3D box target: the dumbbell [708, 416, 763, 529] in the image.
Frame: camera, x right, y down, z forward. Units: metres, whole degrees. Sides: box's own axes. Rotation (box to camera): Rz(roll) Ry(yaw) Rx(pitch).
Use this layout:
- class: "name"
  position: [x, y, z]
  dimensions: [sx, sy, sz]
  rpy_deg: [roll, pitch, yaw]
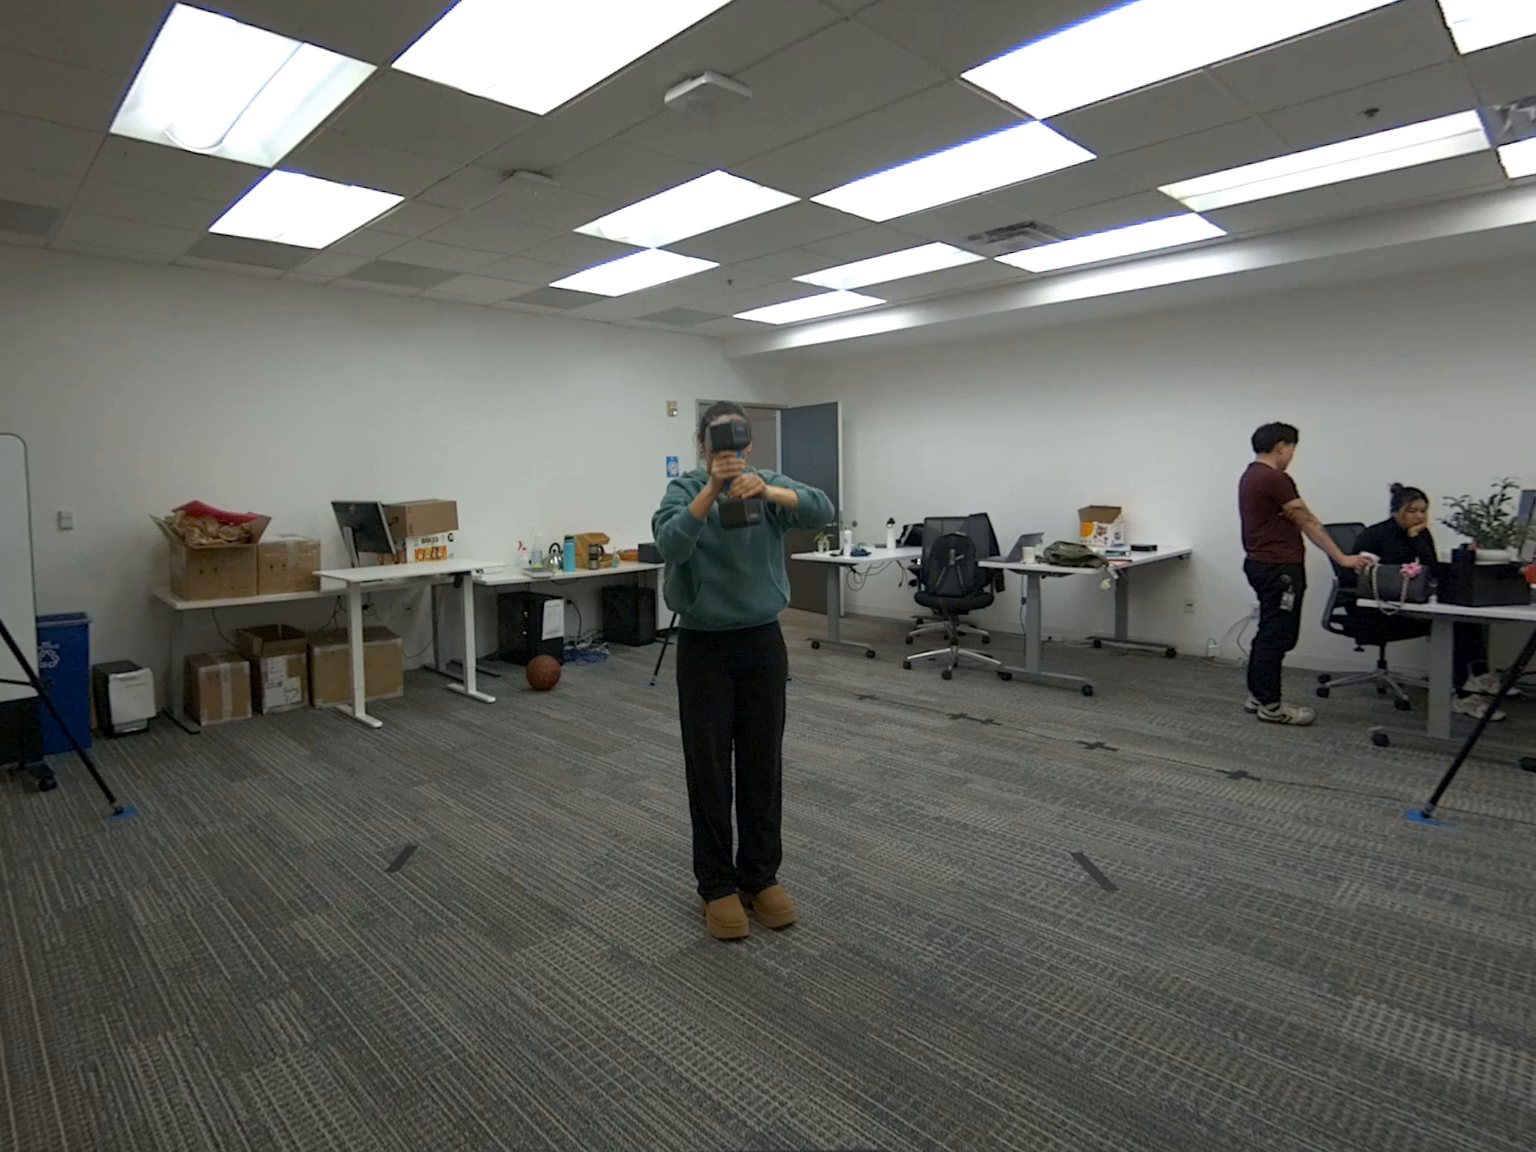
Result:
- class: "dumbbell"
  position: [-0.090, -0.272, 2.325]
  dimensions: [0.108, 0.295, 0.123]
  rpy_deg: [-7, -3, -3]
